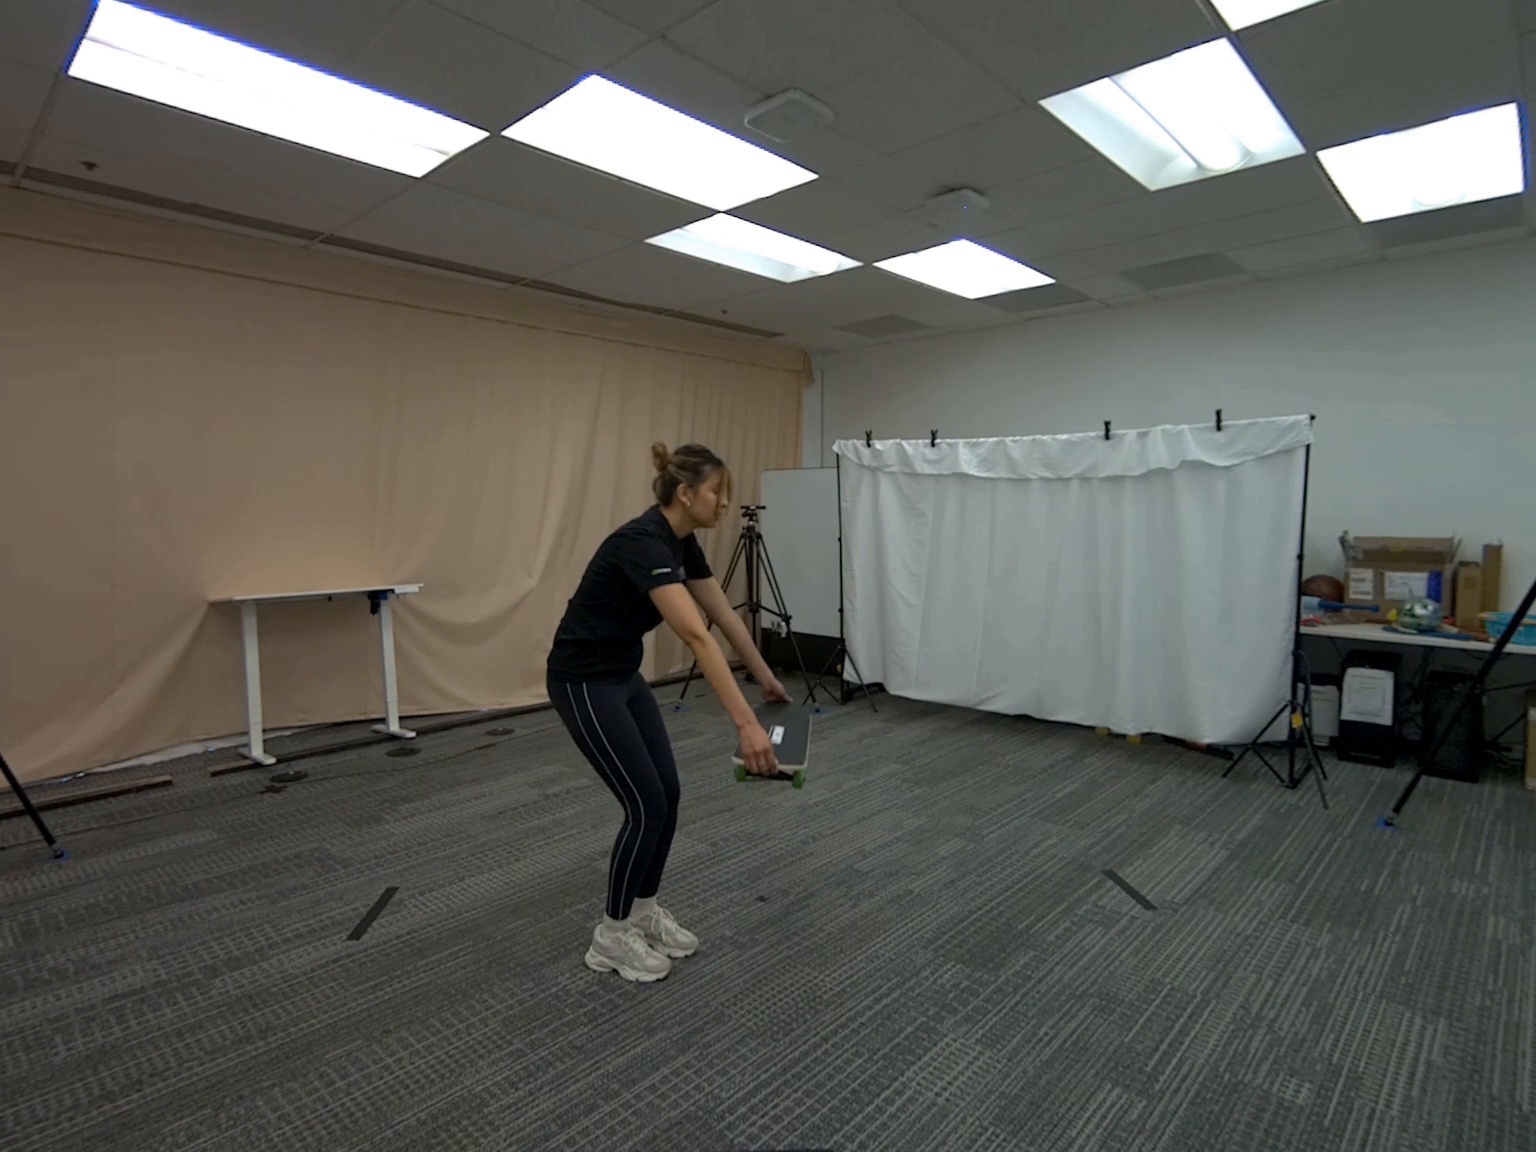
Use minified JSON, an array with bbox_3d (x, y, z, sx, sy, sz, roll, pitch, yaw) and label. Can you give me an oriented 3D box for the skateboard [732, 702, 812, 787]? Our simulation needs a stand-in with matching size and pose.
[{"bbox_3d":[0.016,0.498,2.433,0.194,0.110,0.782,4,3,3],"label":"skateboard"}]
